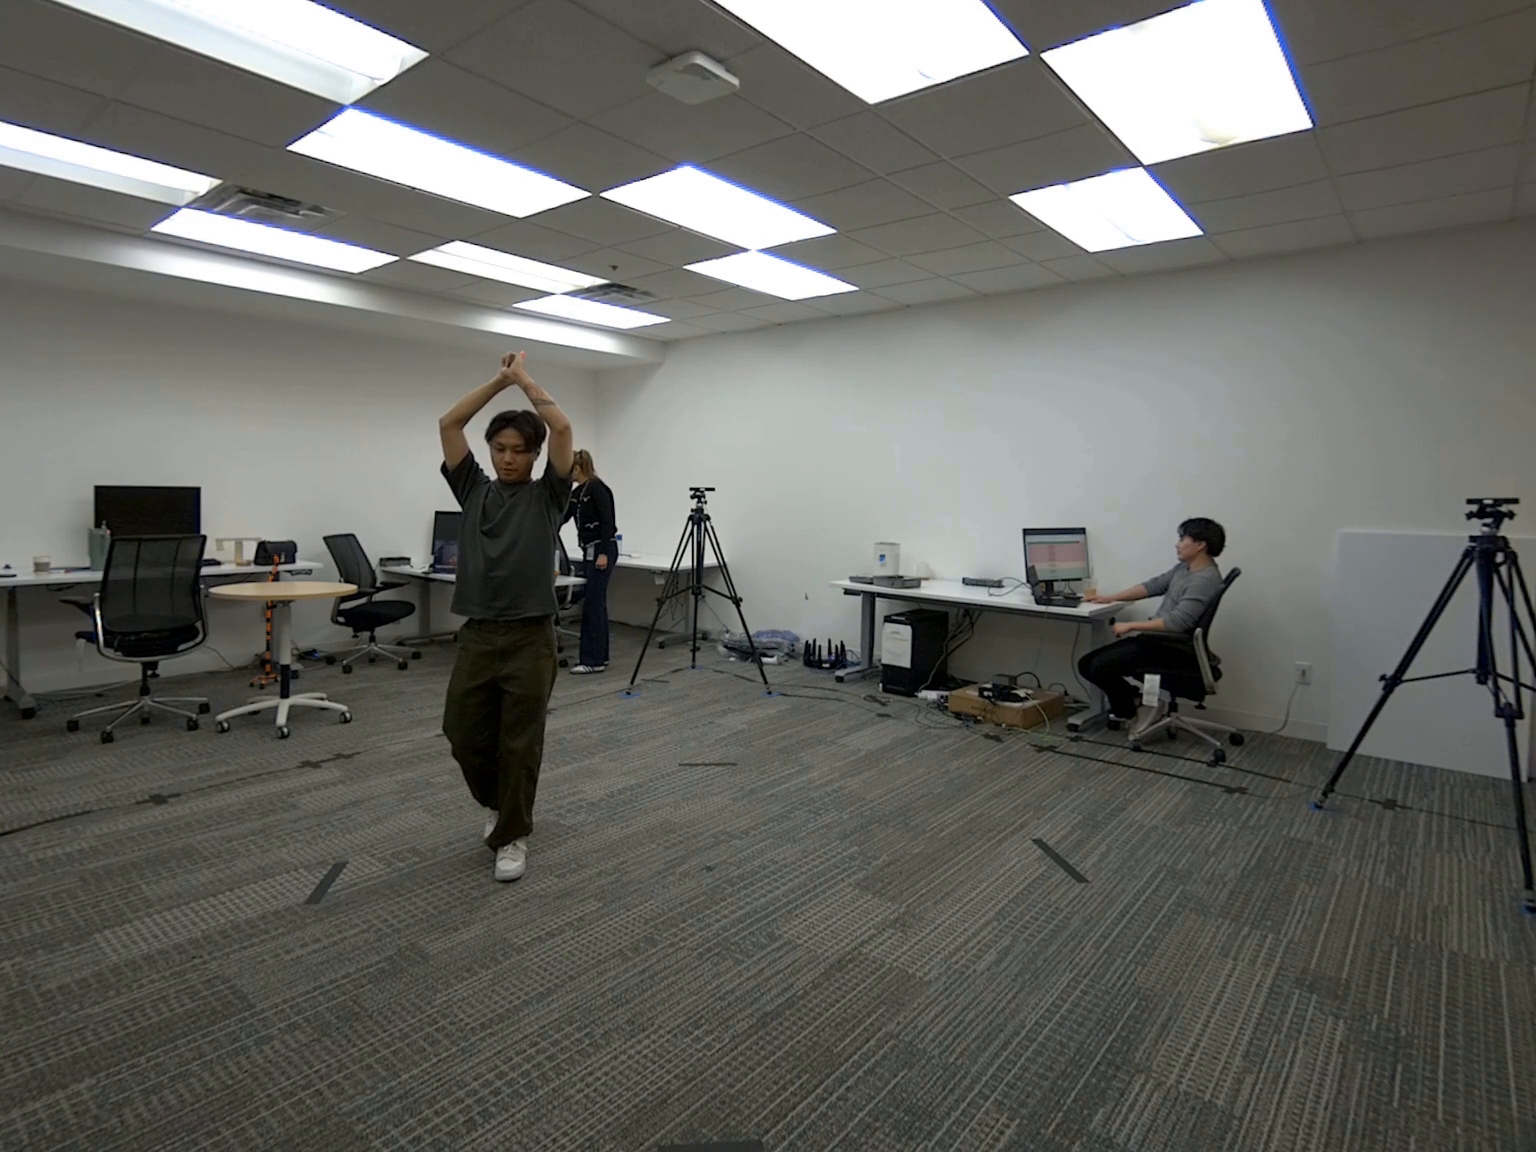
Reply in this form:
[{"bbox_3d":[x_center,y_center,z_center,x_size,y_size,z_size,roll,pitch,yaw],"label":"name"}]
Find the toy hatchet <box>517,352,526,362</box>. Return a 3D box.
[{"bbox_3d":[-0.936,-0.792,3.117,0.029,0.131,0.271,19,-7,-9],"label":"toy hatchet"}]
